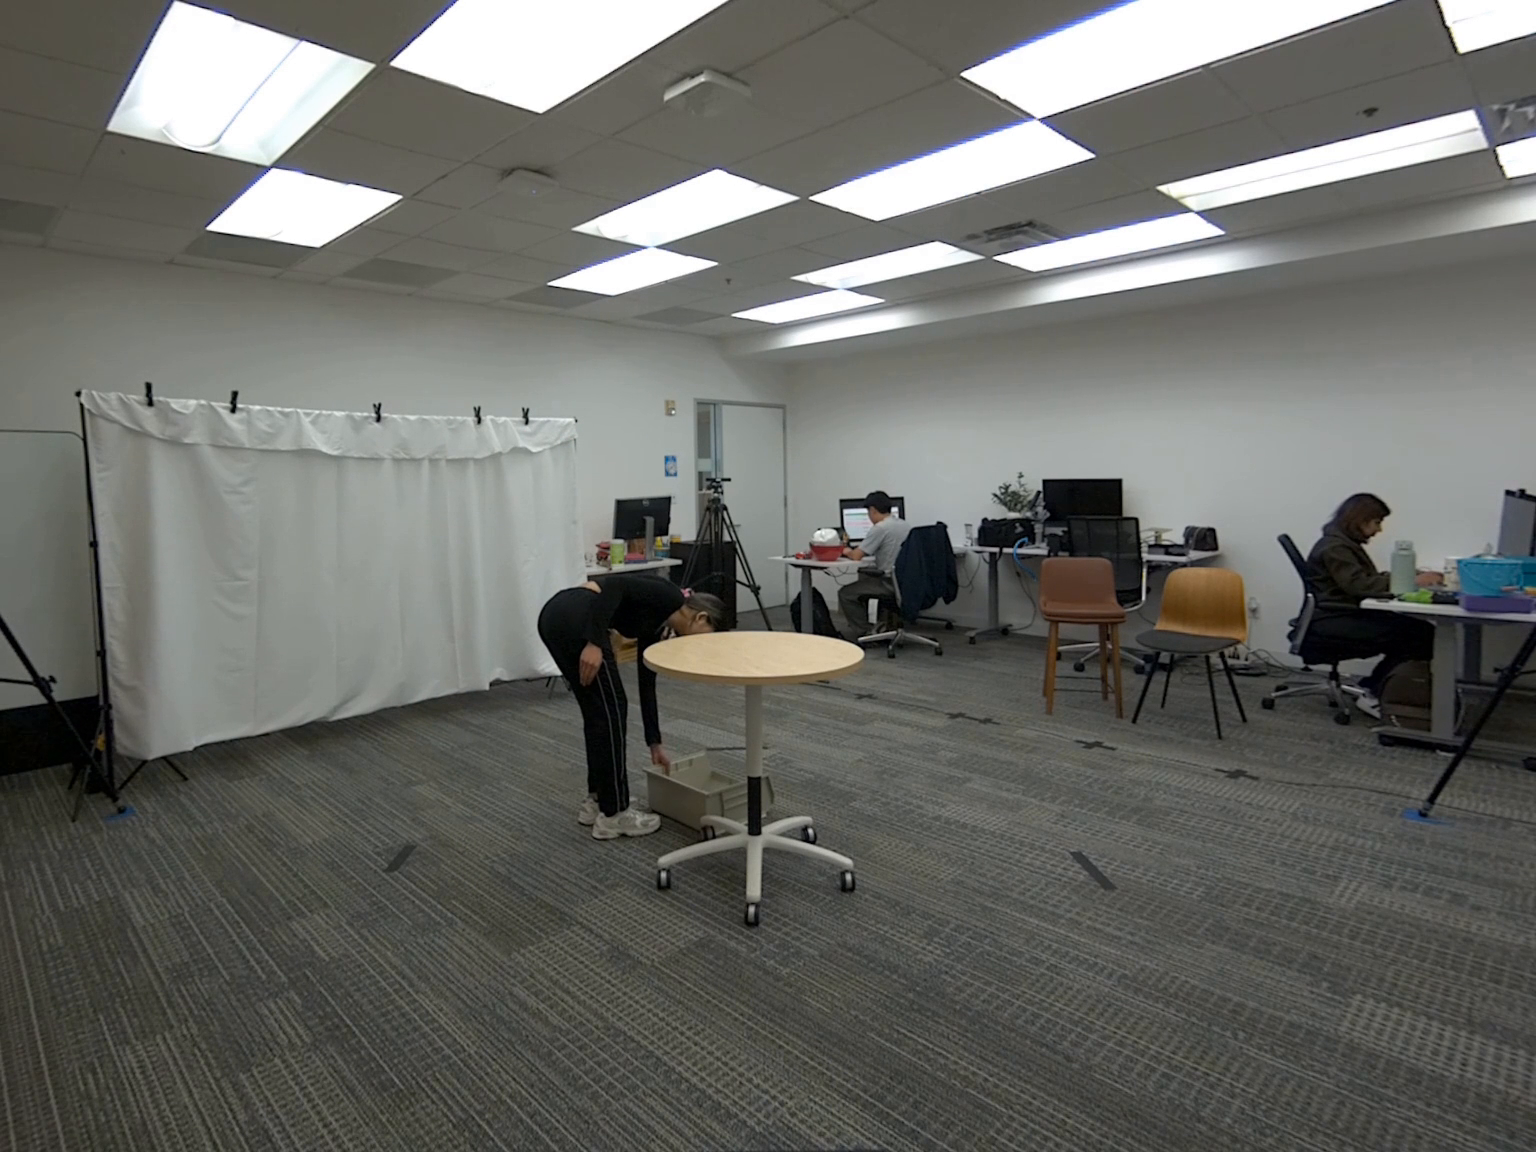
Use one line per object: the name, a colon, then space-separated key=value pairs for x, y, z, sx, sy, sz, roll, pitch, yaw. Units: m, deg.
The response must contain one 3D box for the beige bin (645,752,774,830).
beige bin: x=-0.249 y=0.904 z=3.590 sx=0.368 sy=0.188 sz=0.435 roll=-8 pitch=9 yaw=-43
